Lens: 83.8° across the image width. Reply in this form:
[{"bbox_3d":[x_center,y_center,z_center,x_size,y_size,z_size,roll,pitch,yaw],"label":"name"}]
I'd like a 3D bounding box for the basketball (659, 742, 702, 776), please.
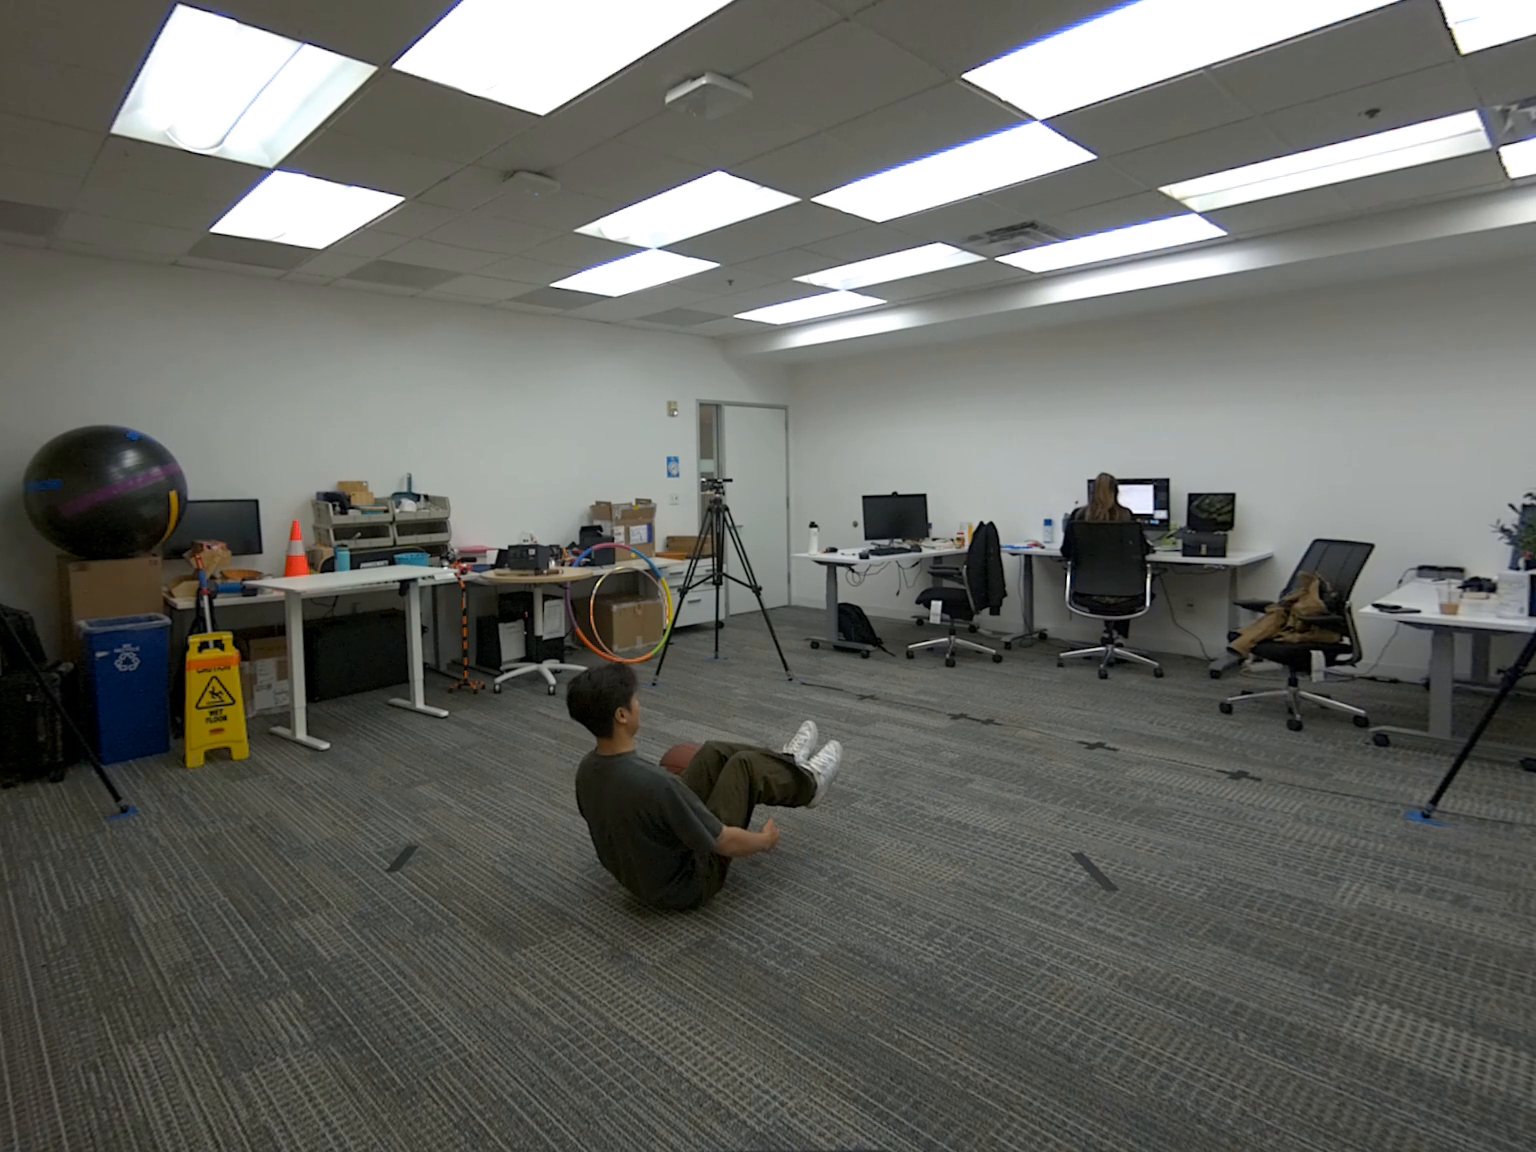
[{"bbox_3d":[-0.294,0.760,3.280,0.236,0.235,0.237,-1,5,-2],"label":"basketball"}]
